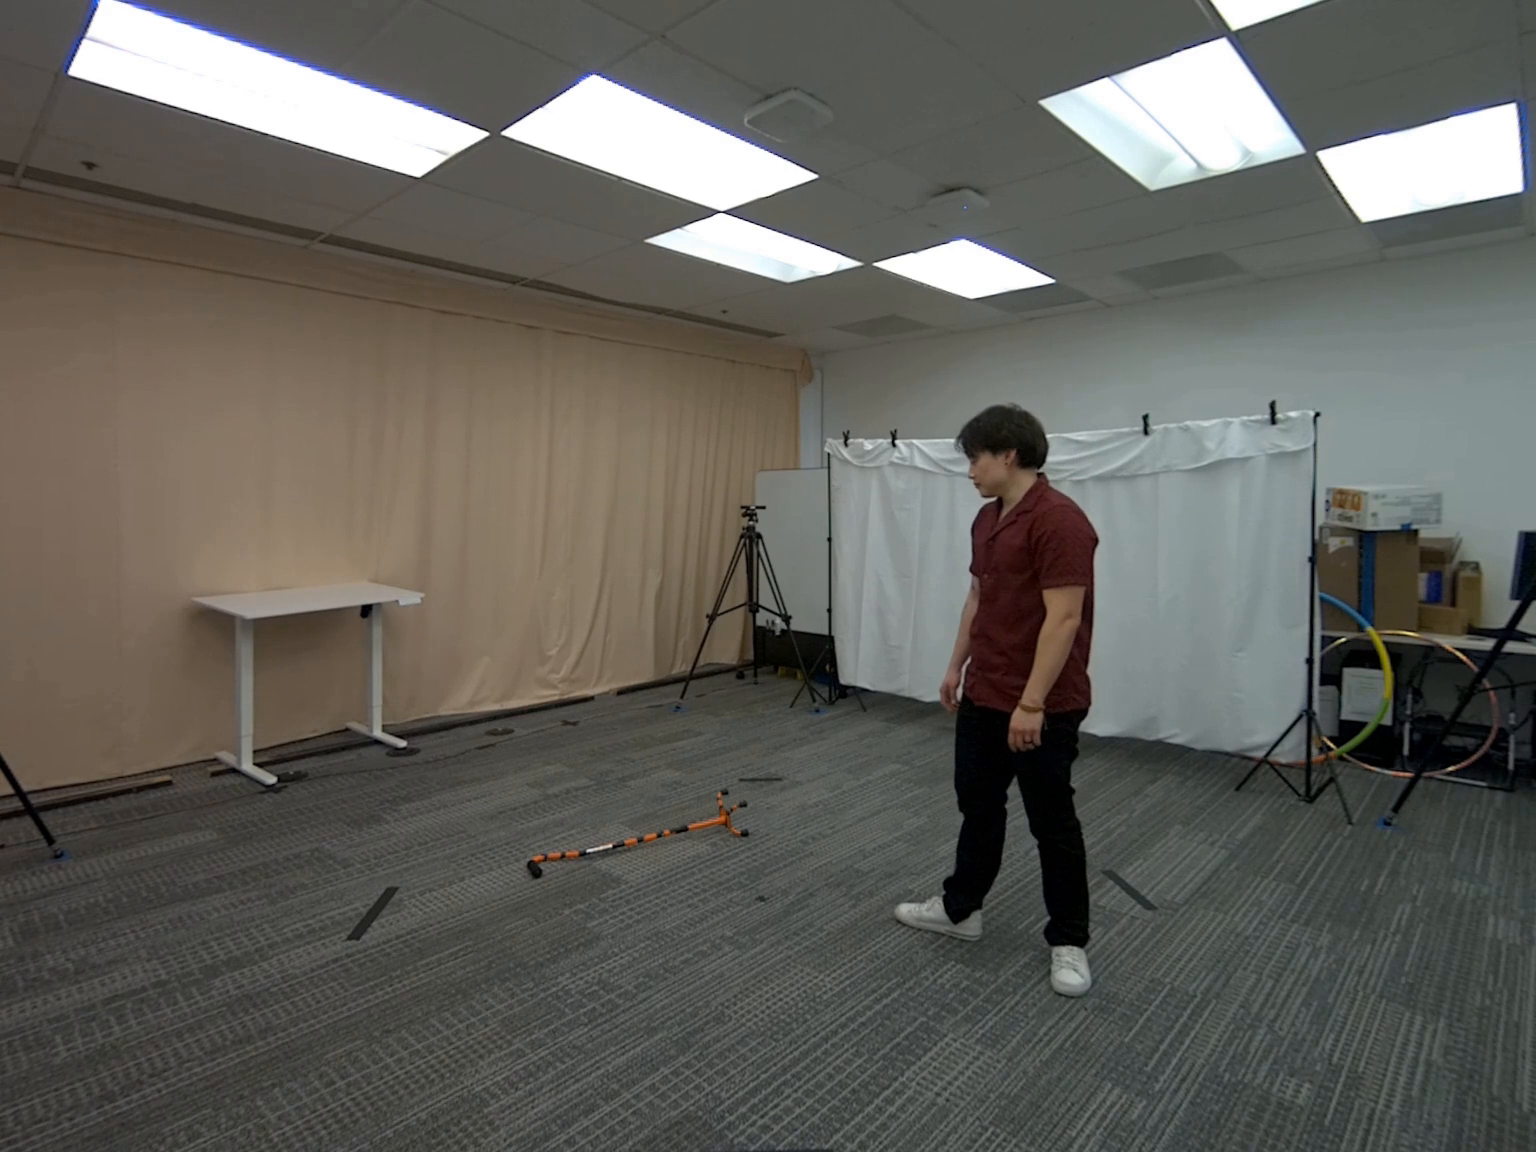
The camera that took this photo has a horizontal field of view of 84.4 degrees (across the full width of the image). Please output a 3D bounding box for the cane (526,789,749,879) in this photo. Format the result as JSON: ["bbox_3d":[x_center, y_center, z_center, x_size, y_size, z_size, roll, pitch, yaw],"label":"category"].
[{"bbox_3d":[-0.526,1.054,3.432,0.886,0.151,0.212,-6,4,-26],"label":"cane"}]
